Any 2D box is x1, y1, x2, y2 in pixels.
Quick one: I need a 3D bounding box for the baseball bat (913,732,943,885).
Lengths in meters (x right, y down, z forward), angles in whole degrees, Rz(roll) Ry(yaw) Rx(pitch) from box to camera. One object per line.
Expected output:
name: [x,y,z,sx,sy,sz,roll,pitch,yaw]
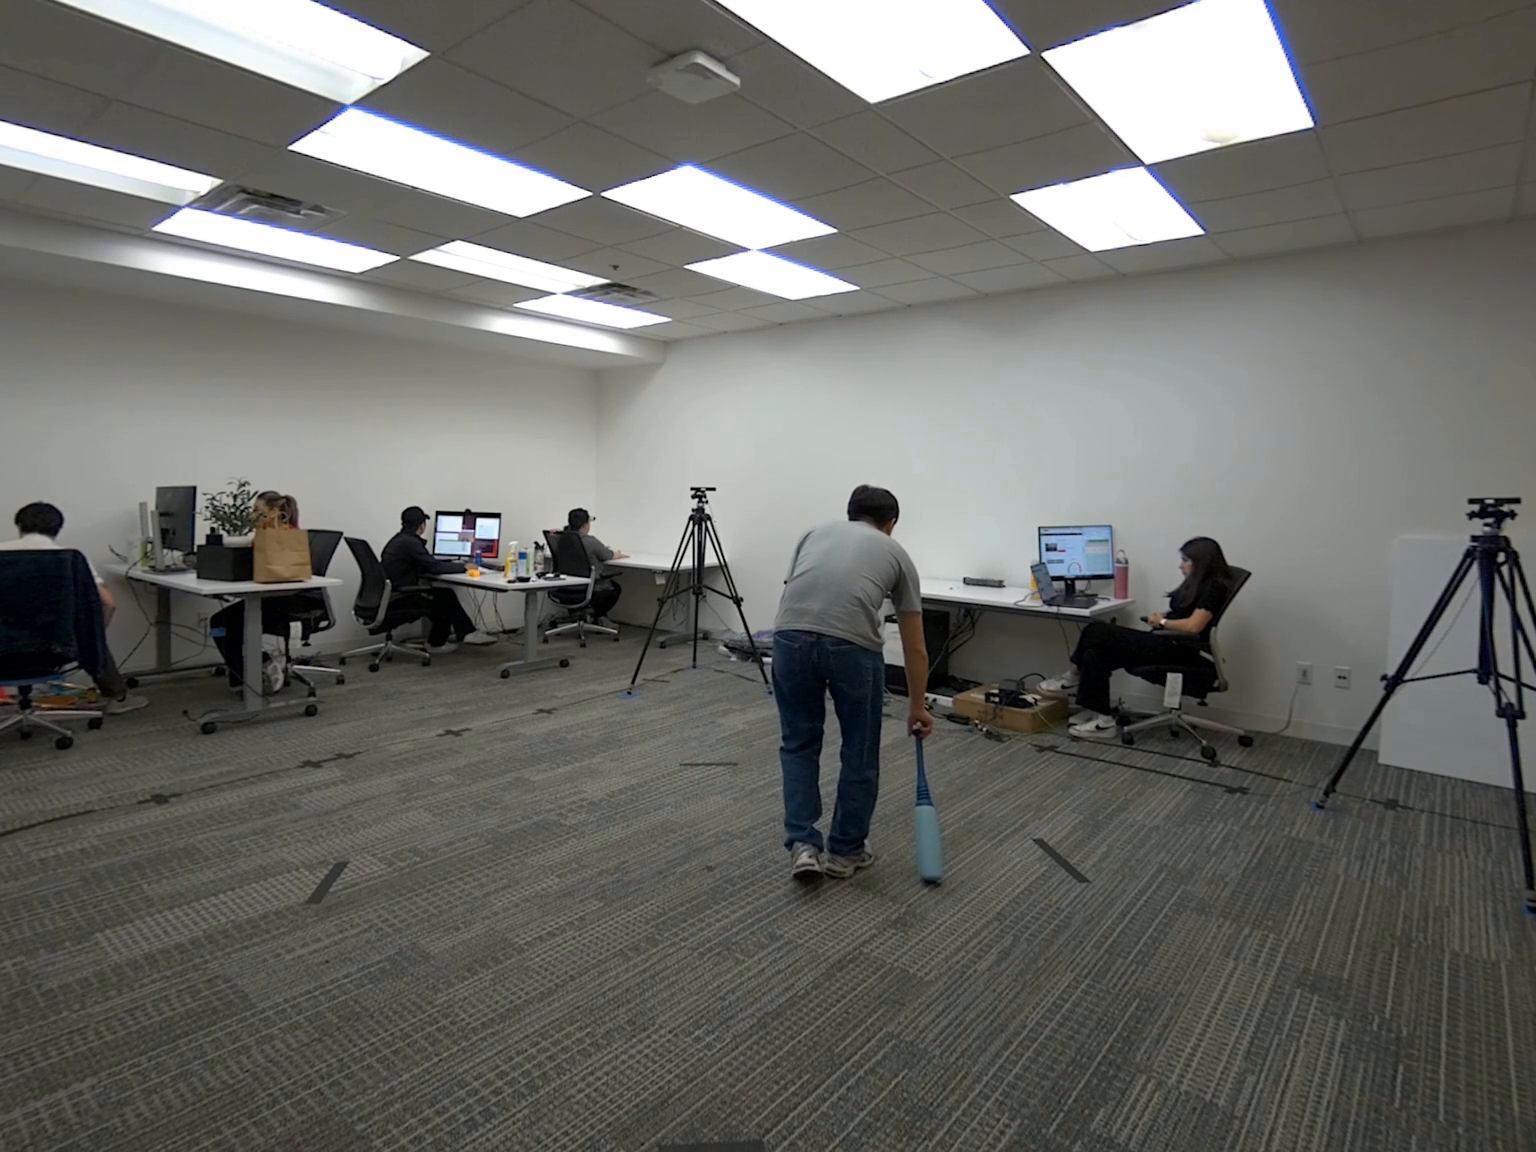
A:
baseball bat: [0.572,0.840,3.146,0.089,0.555,0.087,0,-26,-2]
